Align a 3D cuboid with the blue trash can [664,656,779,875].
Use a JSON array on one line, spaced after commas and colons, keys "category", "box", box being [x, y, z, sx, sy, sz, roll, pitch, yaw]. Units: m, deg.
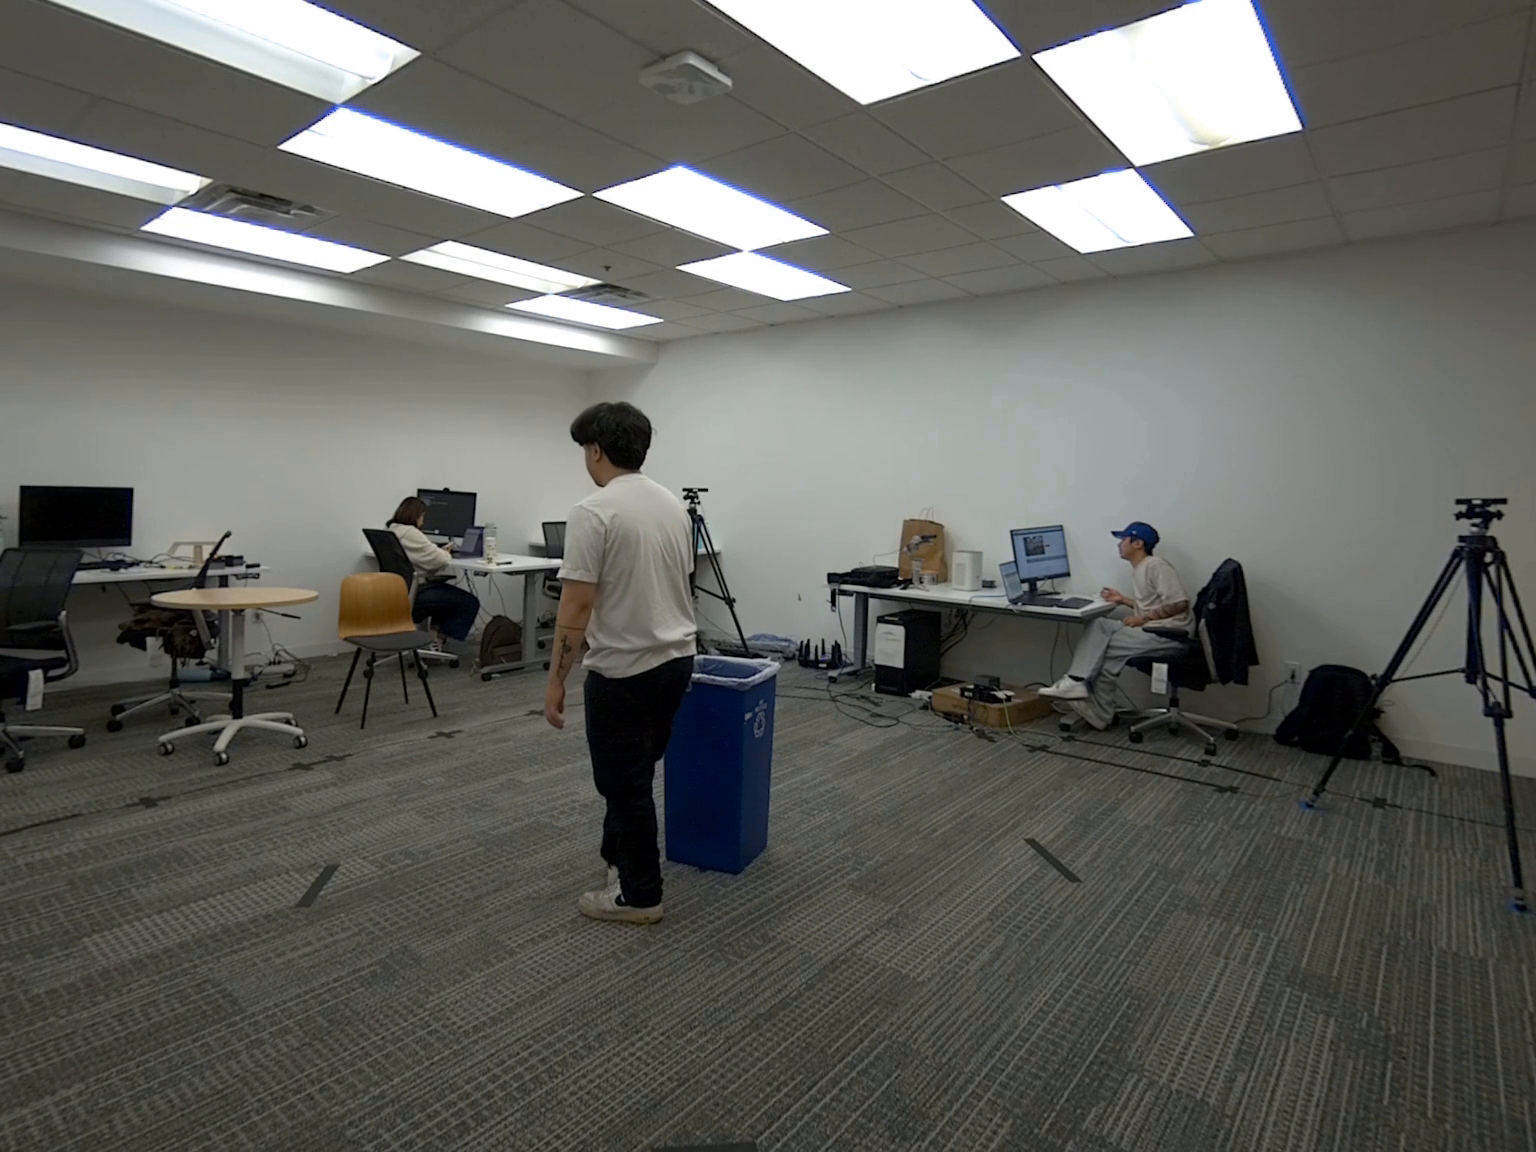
[{"category": "blue trash can", "box": [-0.196, 0.698, 3.251, 0.387, 0.711, 0.366, 3, 4, 23]}]
